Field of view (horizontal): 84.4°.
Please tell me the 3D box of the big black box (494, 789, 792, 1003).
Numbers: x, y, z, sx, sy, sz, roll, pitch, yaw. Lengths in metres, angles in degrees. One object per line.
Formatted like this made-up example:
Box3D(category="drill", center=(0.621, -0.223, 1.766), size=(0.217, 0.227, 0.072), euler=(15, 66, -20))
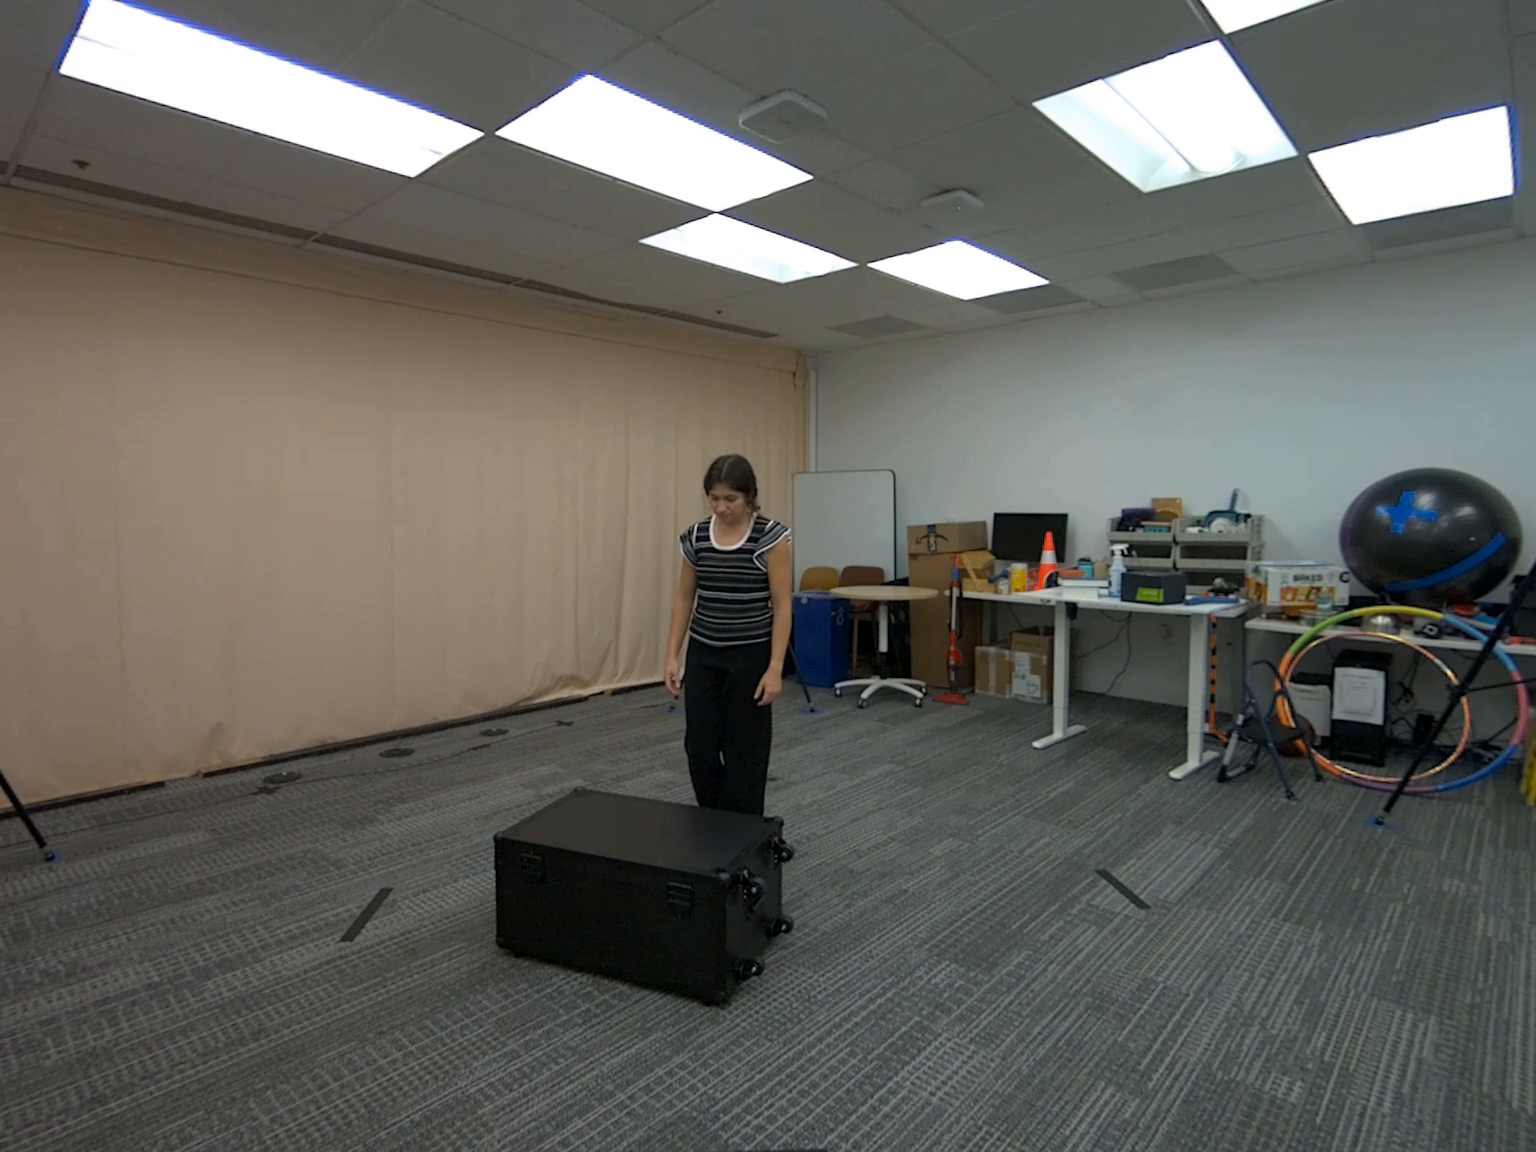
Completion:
Box3D(category="big black box", center=(-0.367, 0.981, 2.664), size=(0.881, 0.395, 0.510), euler=(1, 3, 22))
